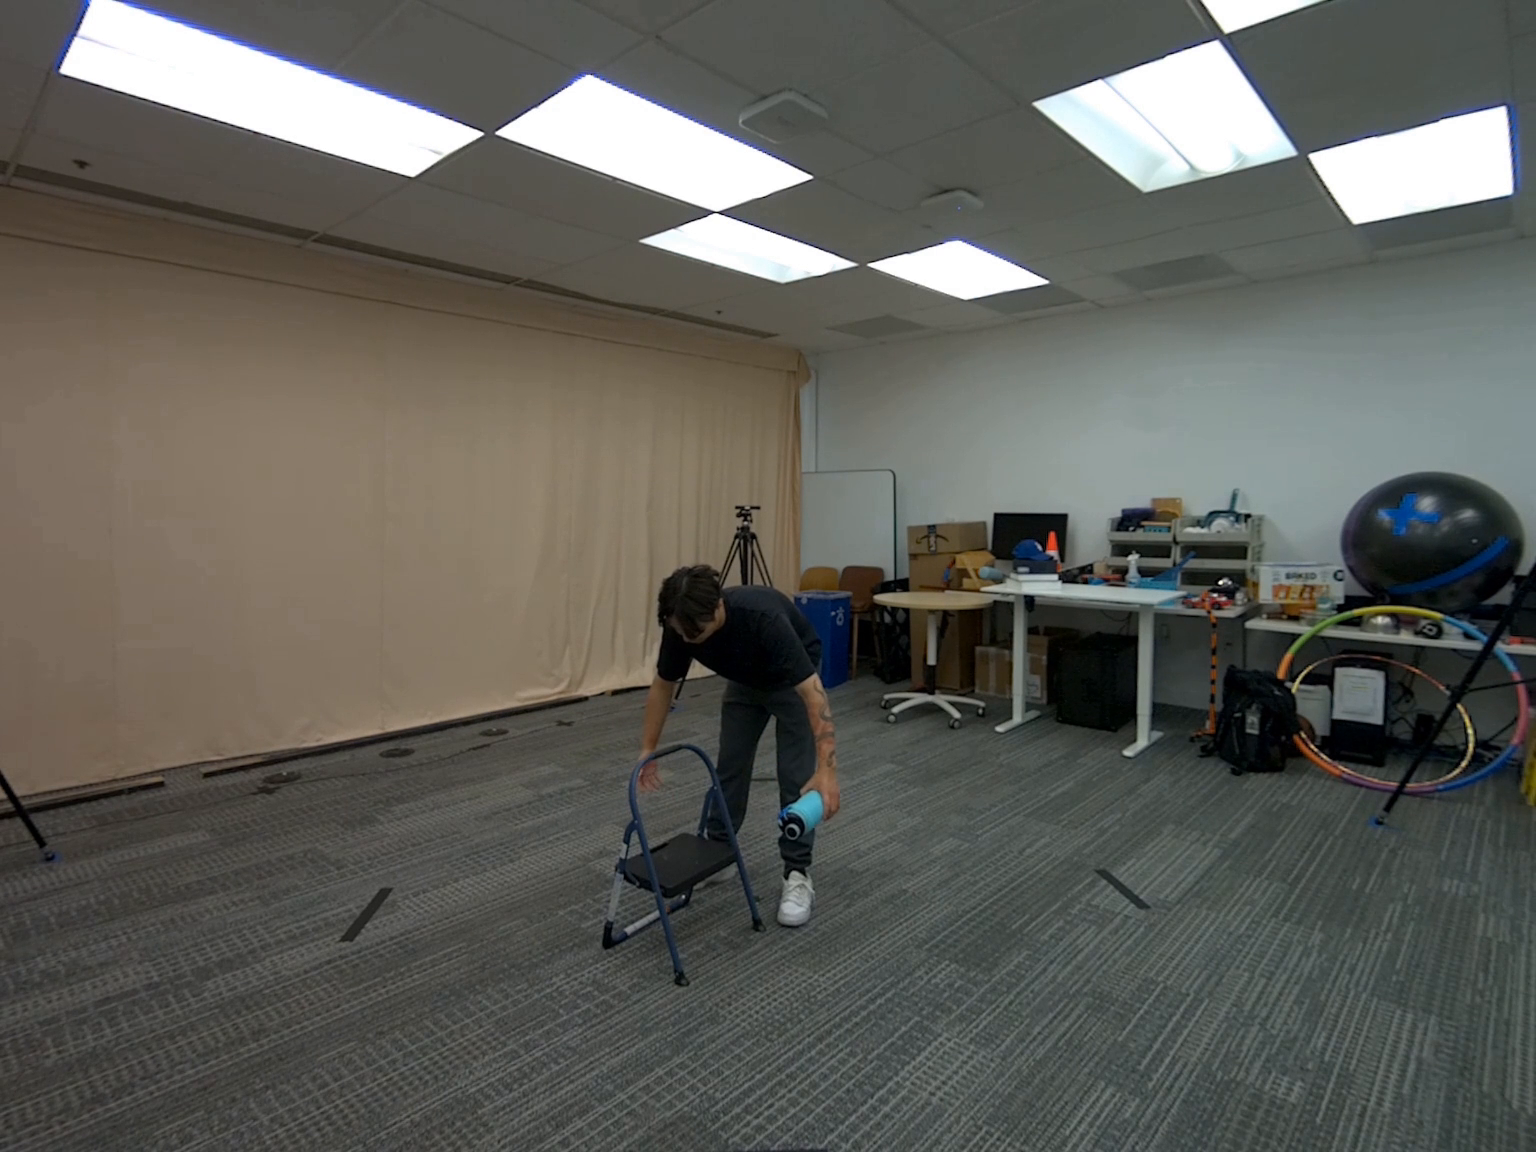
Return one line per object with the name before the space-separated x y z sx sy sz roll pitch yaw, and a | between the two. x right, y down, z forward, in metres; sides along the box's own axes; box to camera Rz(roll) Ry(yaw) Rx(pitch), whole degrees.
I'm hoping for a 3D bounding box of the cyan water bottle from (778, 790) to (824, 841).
cyan water bottle | 0.112 0.697 2.507 0.095 0.092 0.276 2 7 30
